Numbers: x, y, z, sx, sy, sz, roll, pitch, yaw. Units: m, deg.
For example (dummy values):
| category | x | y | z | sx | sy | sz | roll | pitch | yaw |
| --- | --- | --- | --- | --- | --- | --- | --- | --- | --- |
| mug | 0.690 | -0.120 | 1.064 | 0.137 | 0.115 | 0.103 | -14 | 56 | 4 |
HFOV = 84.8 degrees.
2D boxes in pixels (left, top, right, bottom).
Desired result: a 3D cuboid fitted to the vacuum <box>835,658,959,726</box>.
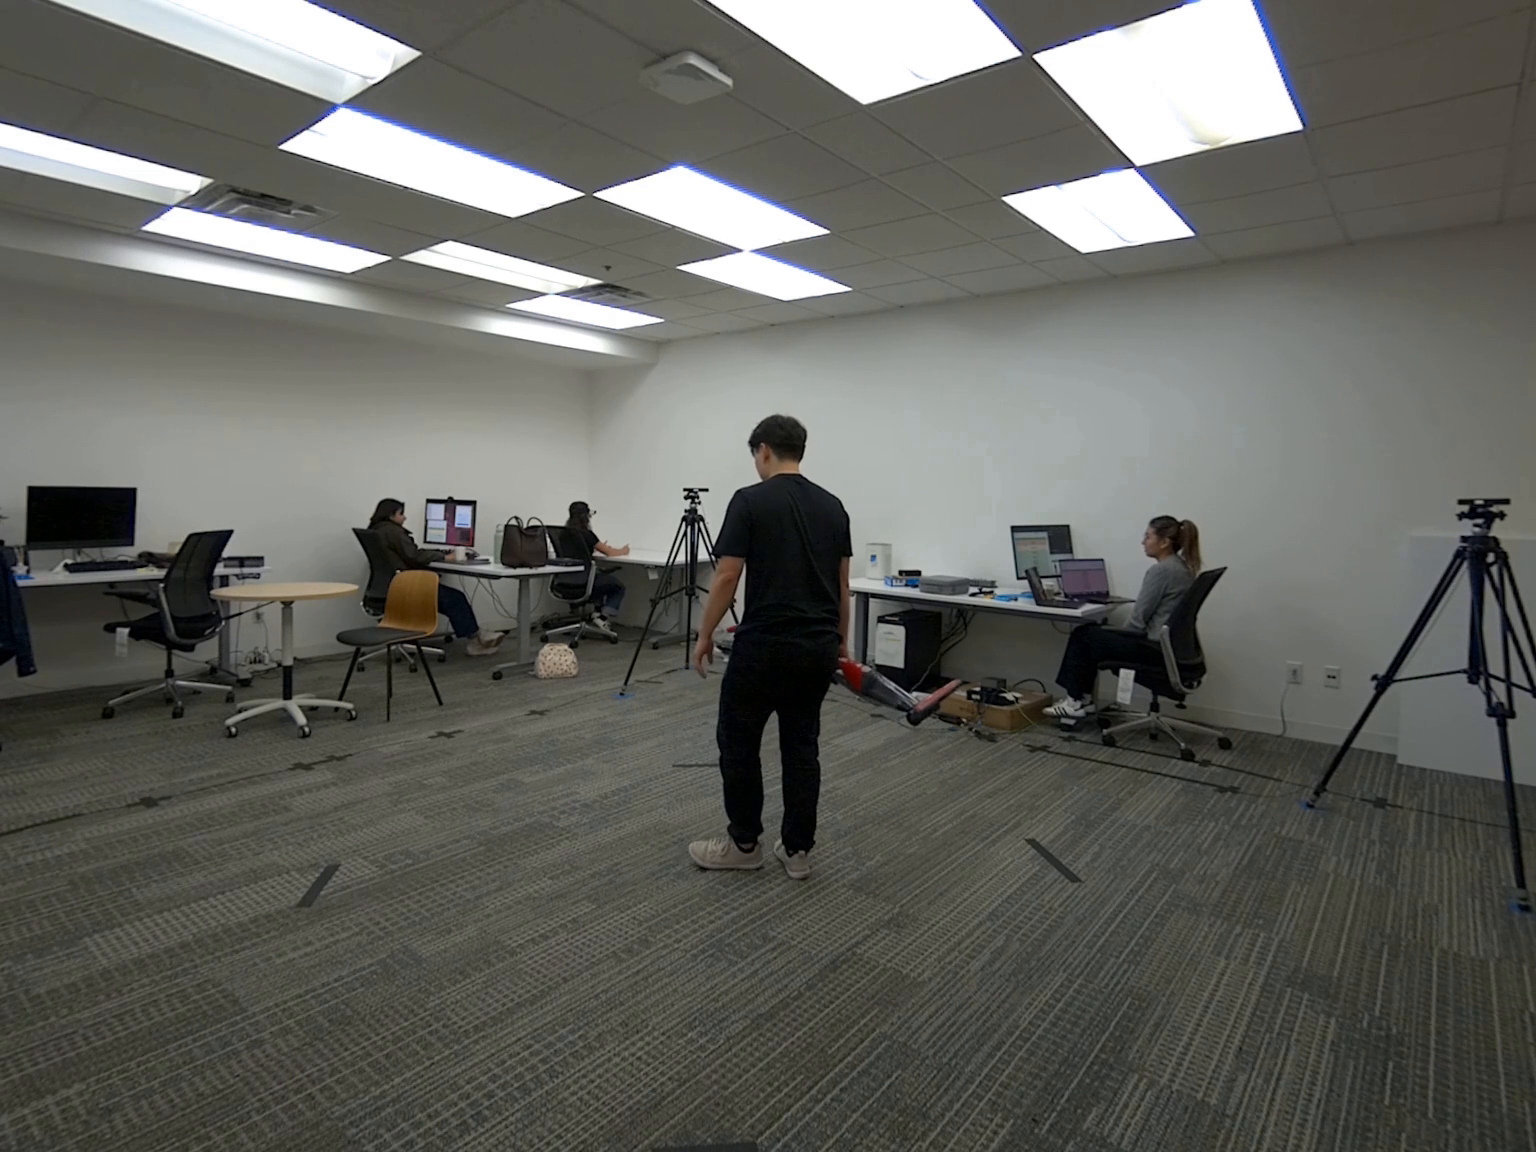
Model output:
| category | x | y | z | sx | sy | sz | roll | pitch | yaw |
| --- | --- | --- | --- | --- | --- | --- | --- | --- | --- |
| vacuum | 0.192 | 0.343 | 3.325 | 0.249 | 0.141 | 1.090 | -27 | 29 | -36 |
